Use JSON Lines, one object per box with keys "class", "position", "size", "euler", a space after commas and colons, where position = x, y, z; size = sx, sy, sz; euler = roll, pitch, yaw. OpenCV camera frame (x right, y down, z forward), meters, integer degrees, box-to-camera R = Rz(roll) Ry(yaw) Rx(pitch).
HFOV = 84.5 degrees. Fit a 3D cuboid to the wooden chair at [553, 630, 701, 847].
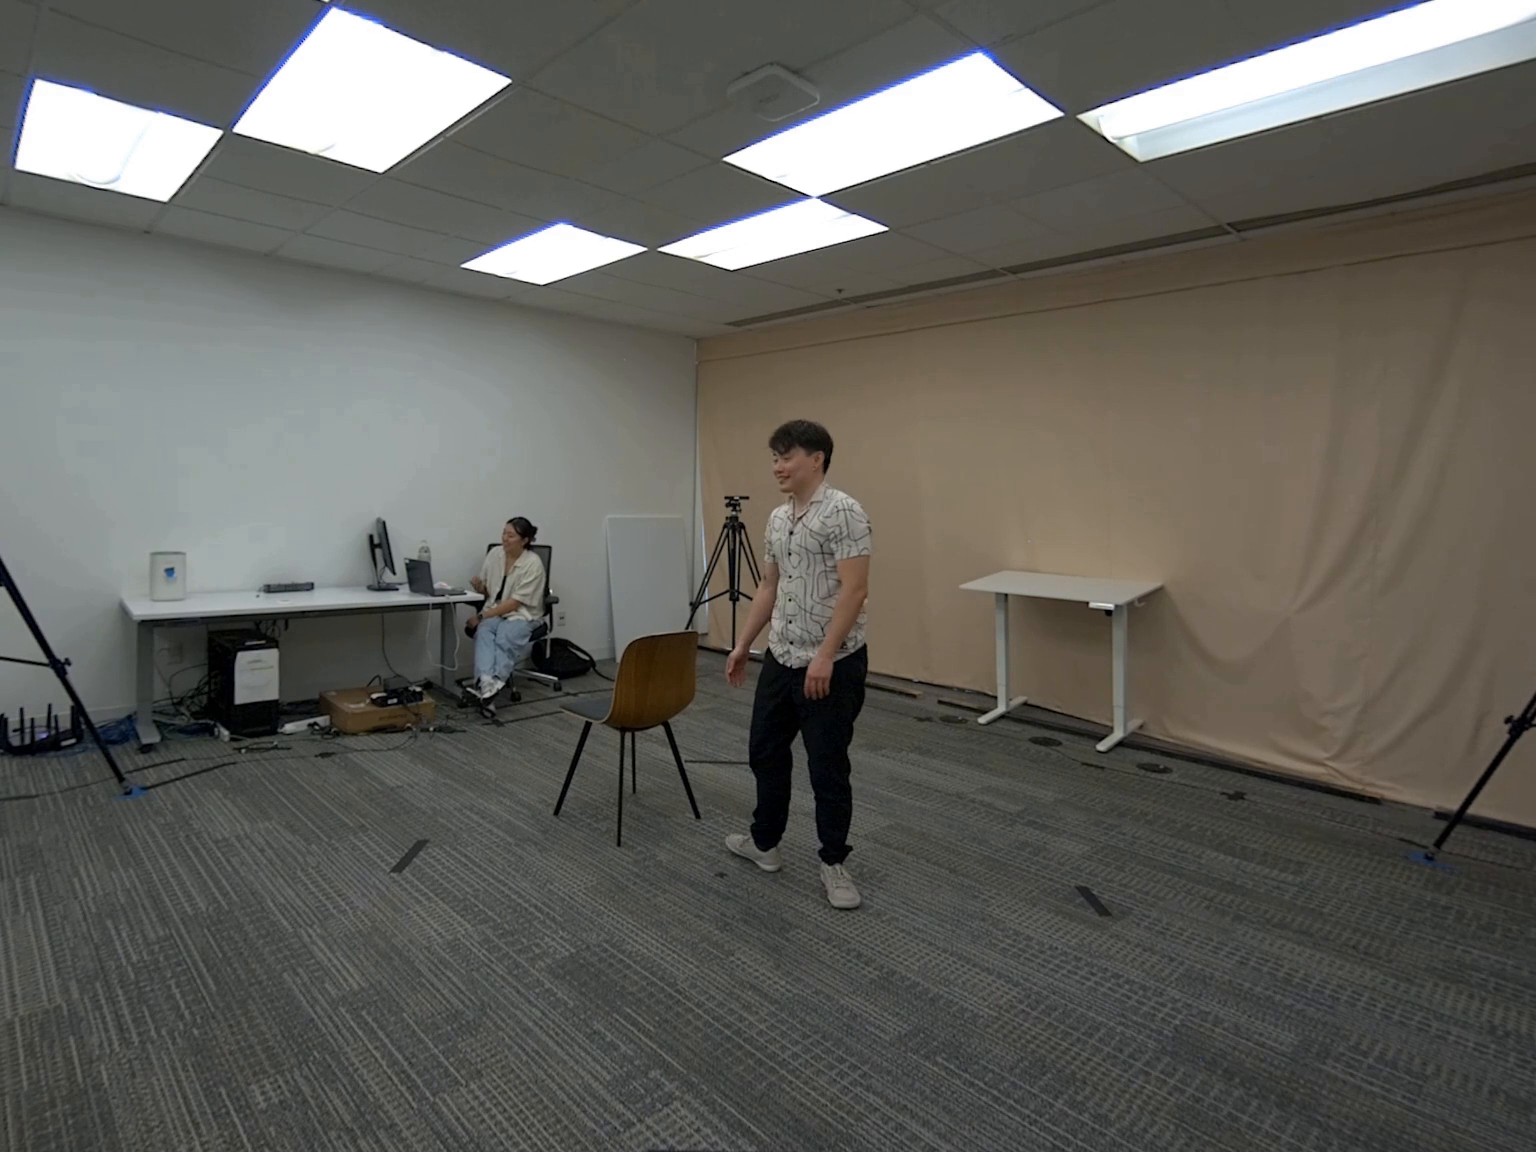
{"class": "wooden chair", "position": [-0.609, 0.619, 3.618], "size": [0.537, 0.873, 0.467], "euler": [11, 9, 42]}
